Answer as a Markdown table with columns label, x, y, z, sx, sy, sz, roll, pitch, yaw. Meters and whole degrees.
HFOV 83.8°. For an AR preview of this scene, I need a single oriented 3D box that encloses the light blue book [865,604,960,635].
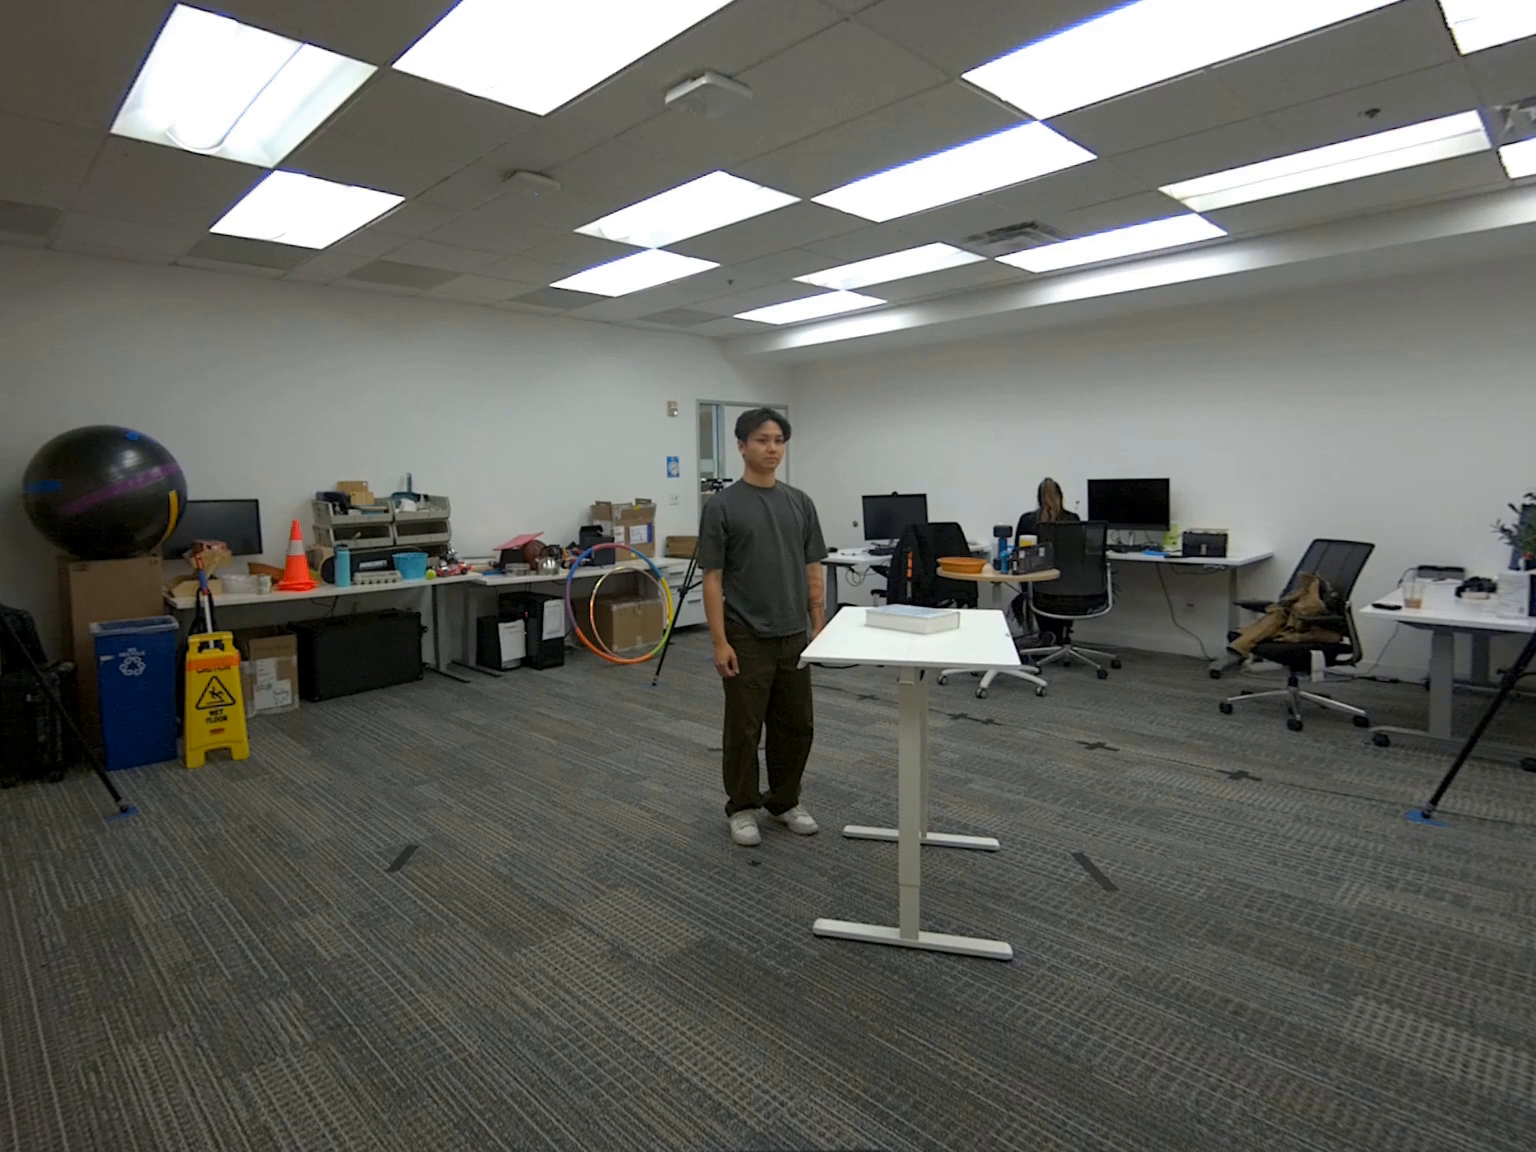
| label | x | y | z | sx | sy | sz | roll | pitch | yaw |
| --- | --- | --- | --- | --- | --- | --- | --- | --- | --- |
| light blue book | 0.500 | 0.146 | 2.921 | 0.186 | 0.059 | 0.269 | -6 | 7 | -42 |
